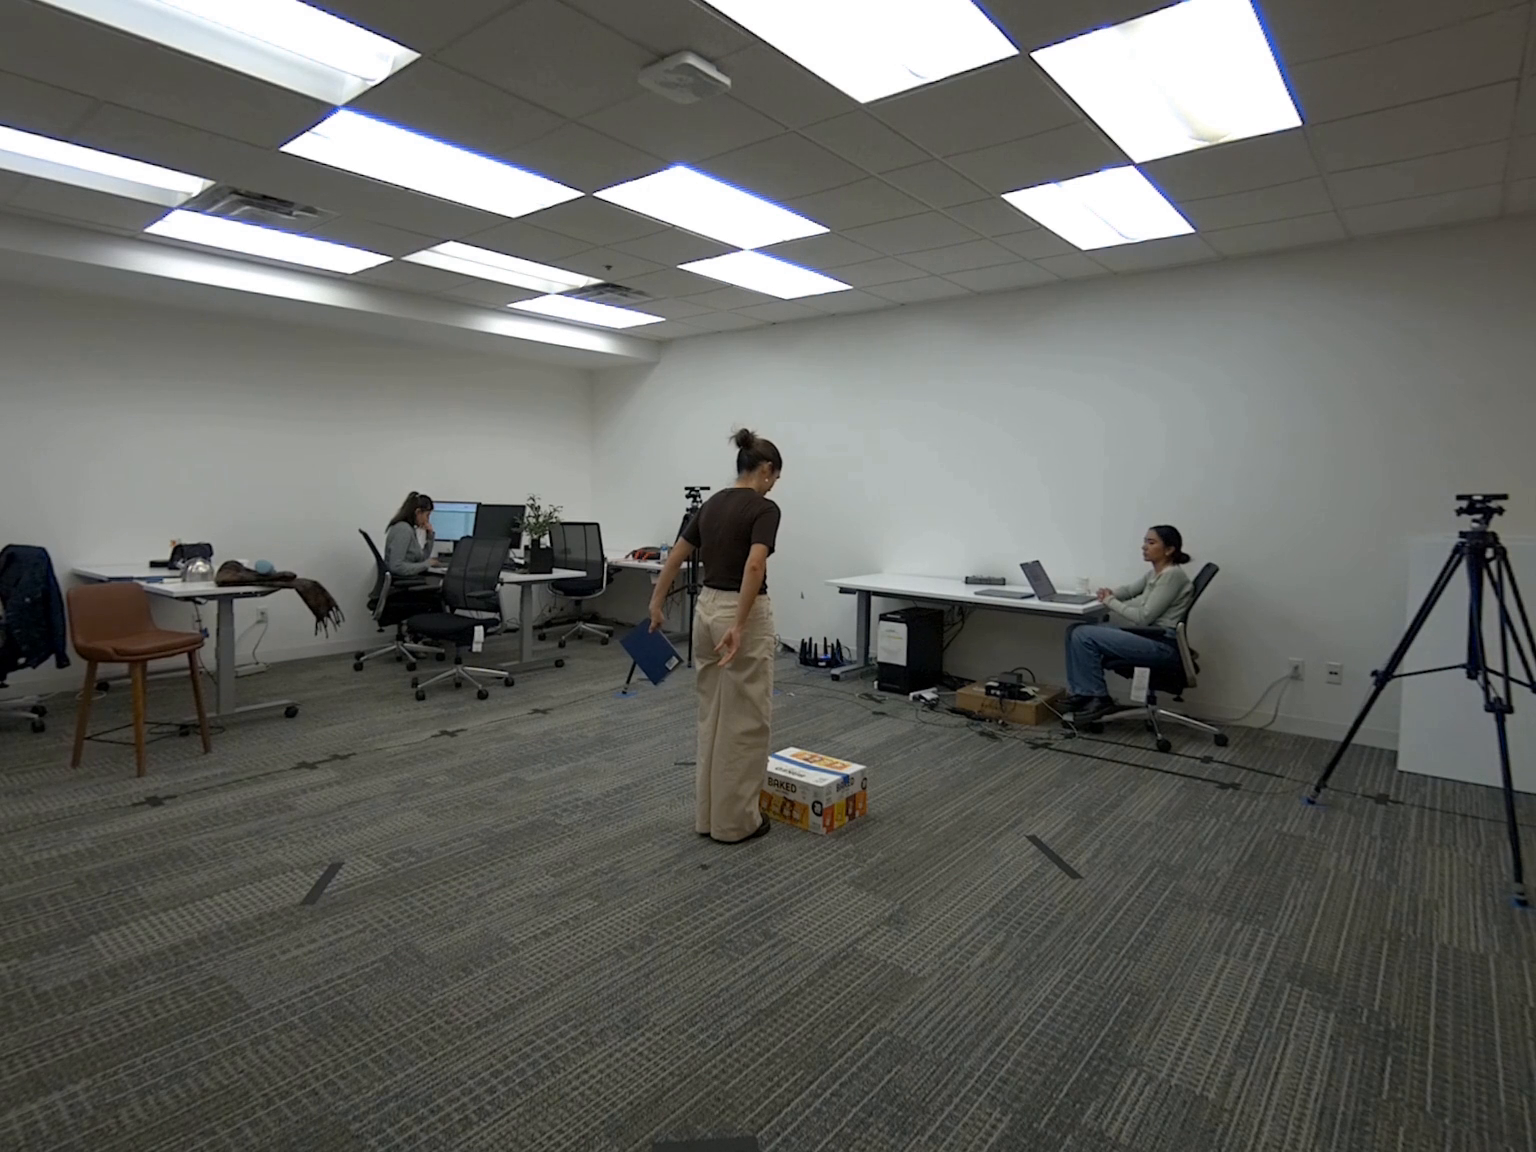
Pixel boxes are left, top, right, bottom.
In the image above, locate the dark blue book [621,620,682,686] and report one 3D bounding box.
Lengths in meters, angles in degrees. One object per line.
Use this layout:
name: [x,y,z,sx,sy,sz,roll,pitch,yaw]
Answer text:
dark blue book: [-0.508,0.317,3.606,0.163,0.251,0.044,-41,-16,-4]
